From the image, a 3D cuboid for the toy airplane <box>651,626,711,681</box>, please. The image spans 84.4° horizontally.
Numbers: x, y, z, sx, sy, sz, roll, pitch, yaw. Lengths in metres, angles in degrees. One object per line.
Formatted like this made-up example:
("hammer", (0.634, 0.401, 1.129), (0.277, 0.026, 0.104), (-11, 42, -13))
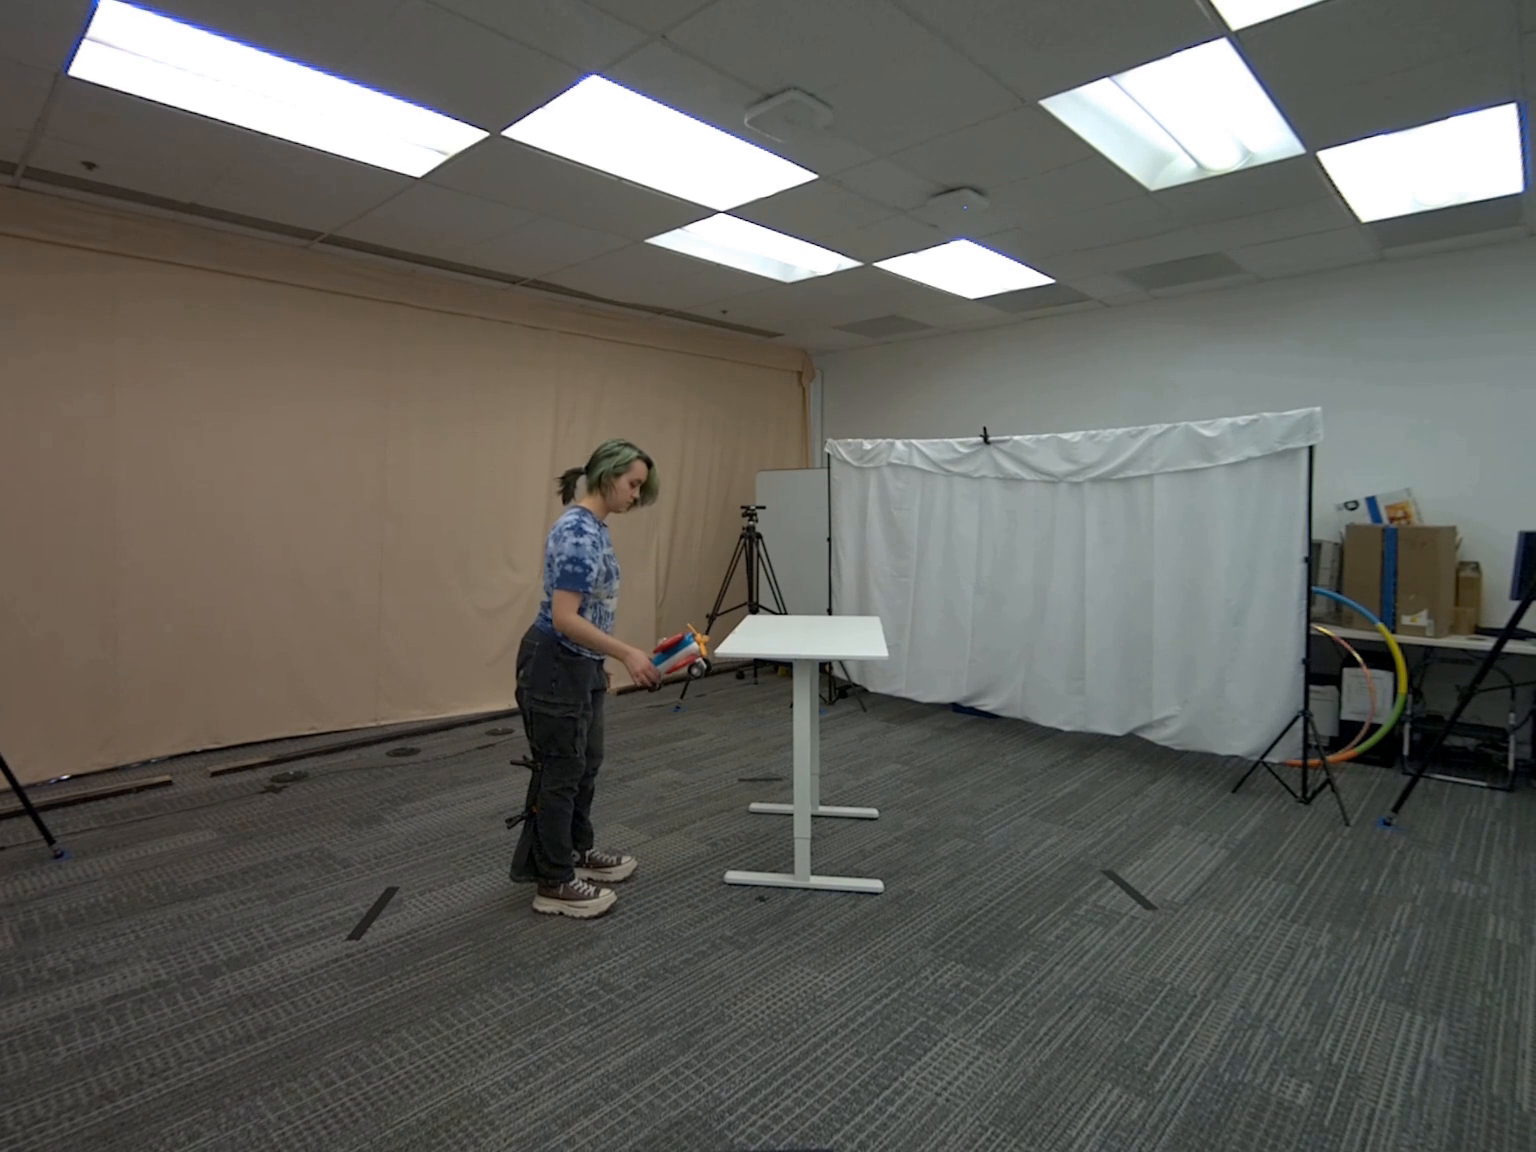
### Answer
("toy airplane", (-0.318, 0.284, 2.725), (0.256, 0.157, 0.253), (-18, -2, -14))
